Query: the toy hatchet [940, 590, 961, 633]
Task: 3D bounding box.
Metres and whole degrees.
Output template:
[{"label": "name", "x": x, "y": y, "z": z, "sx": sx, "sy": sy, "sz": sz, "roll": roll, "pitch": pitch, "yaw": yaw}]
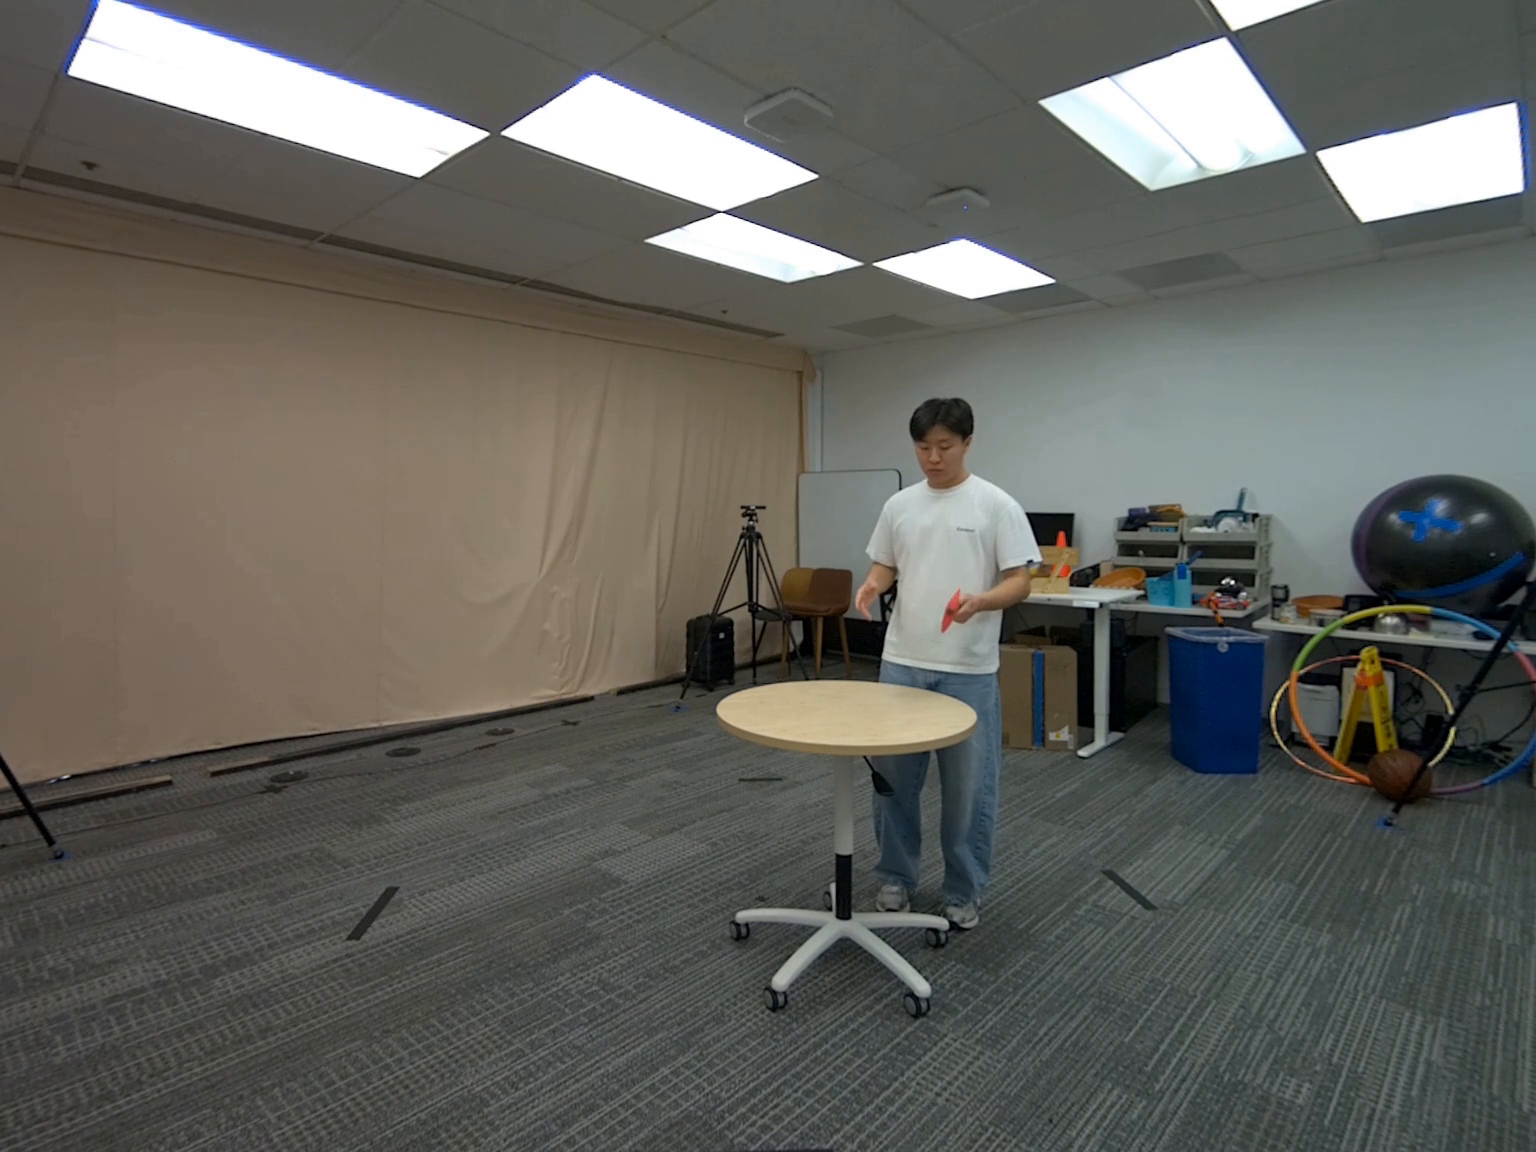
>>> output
[{"label": "toy hatchet", "x": 0.543, "y": 0.100, "z": 2.544, "sx": 0.030, "sy": 0.131, "sz": 0.262, "roll": 19, "pitch": -6, "yaw": 23}]
